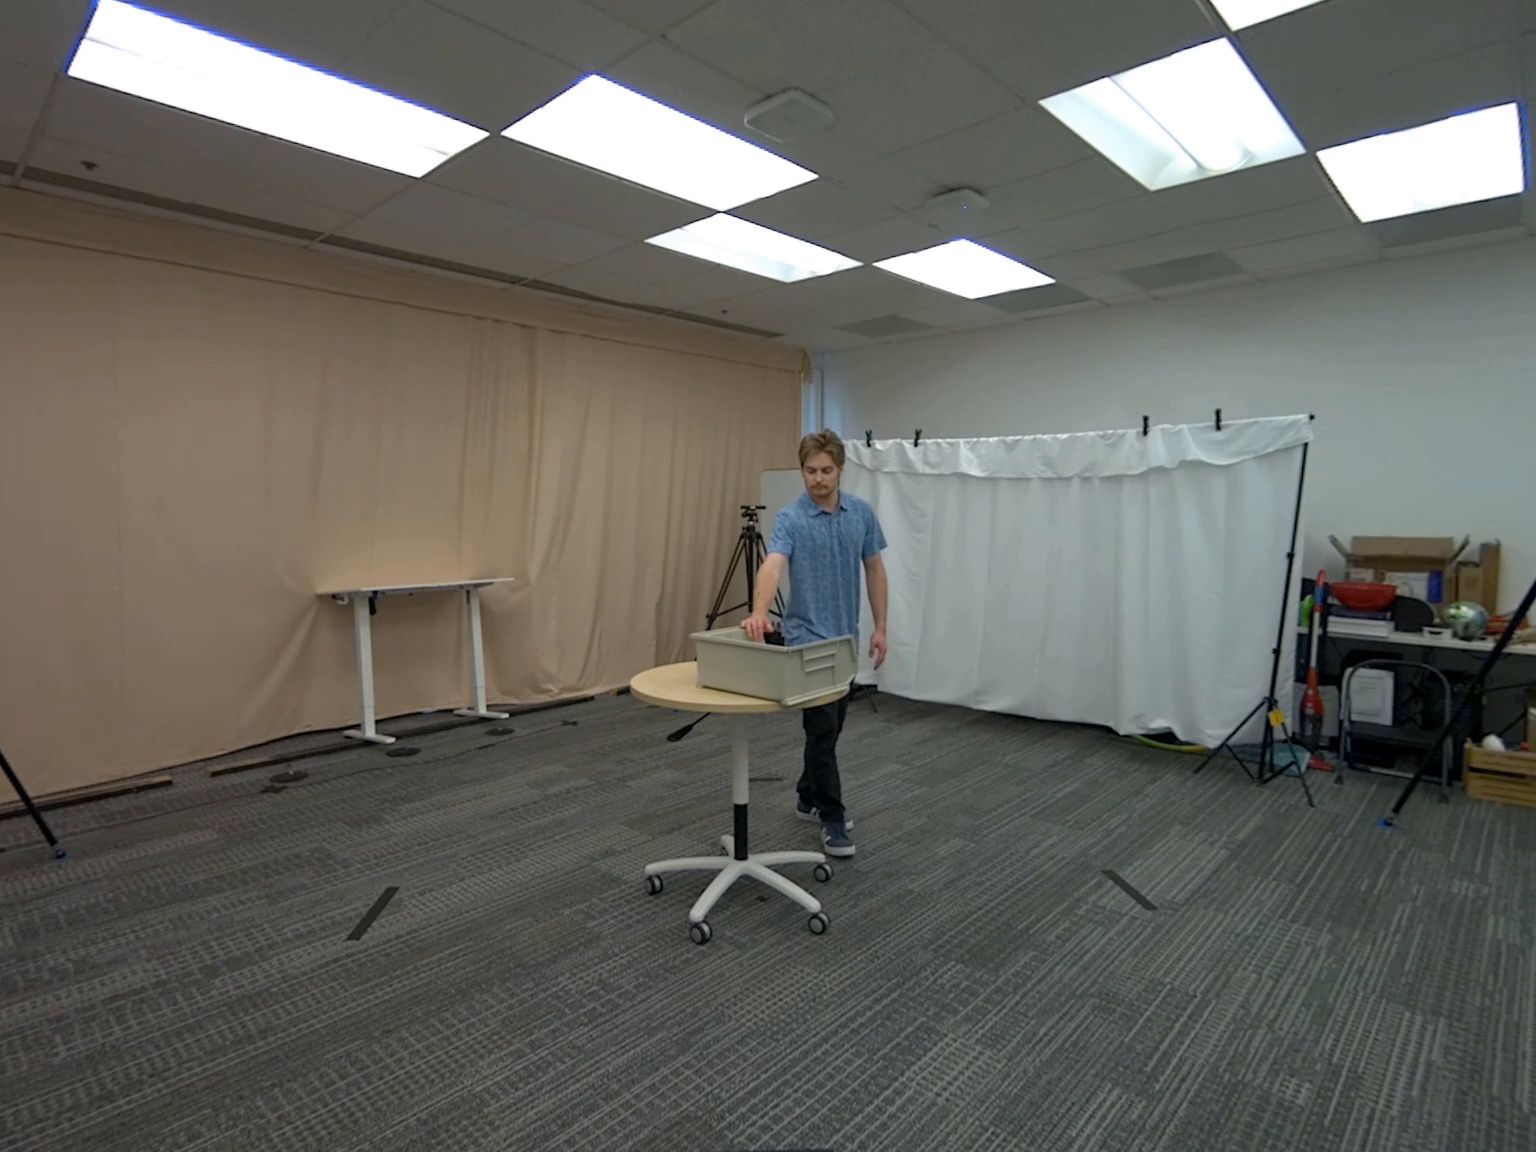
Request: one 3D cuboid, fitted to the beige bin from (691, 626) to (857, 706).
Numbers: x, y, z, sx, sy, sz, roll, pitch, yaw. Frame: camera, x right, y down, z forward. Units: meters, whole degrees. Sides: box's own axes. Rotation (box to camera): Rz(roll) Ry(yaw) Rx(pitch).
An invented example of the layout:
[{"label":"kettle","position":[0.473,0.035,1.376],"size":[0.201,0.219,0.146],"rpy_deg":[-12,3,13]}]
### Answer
[{"label":"beige bin","position":[0.022,0.286,2.816],"size":[0.436,0.188,0.366],"rpy_deg":[5,8,43]}]
